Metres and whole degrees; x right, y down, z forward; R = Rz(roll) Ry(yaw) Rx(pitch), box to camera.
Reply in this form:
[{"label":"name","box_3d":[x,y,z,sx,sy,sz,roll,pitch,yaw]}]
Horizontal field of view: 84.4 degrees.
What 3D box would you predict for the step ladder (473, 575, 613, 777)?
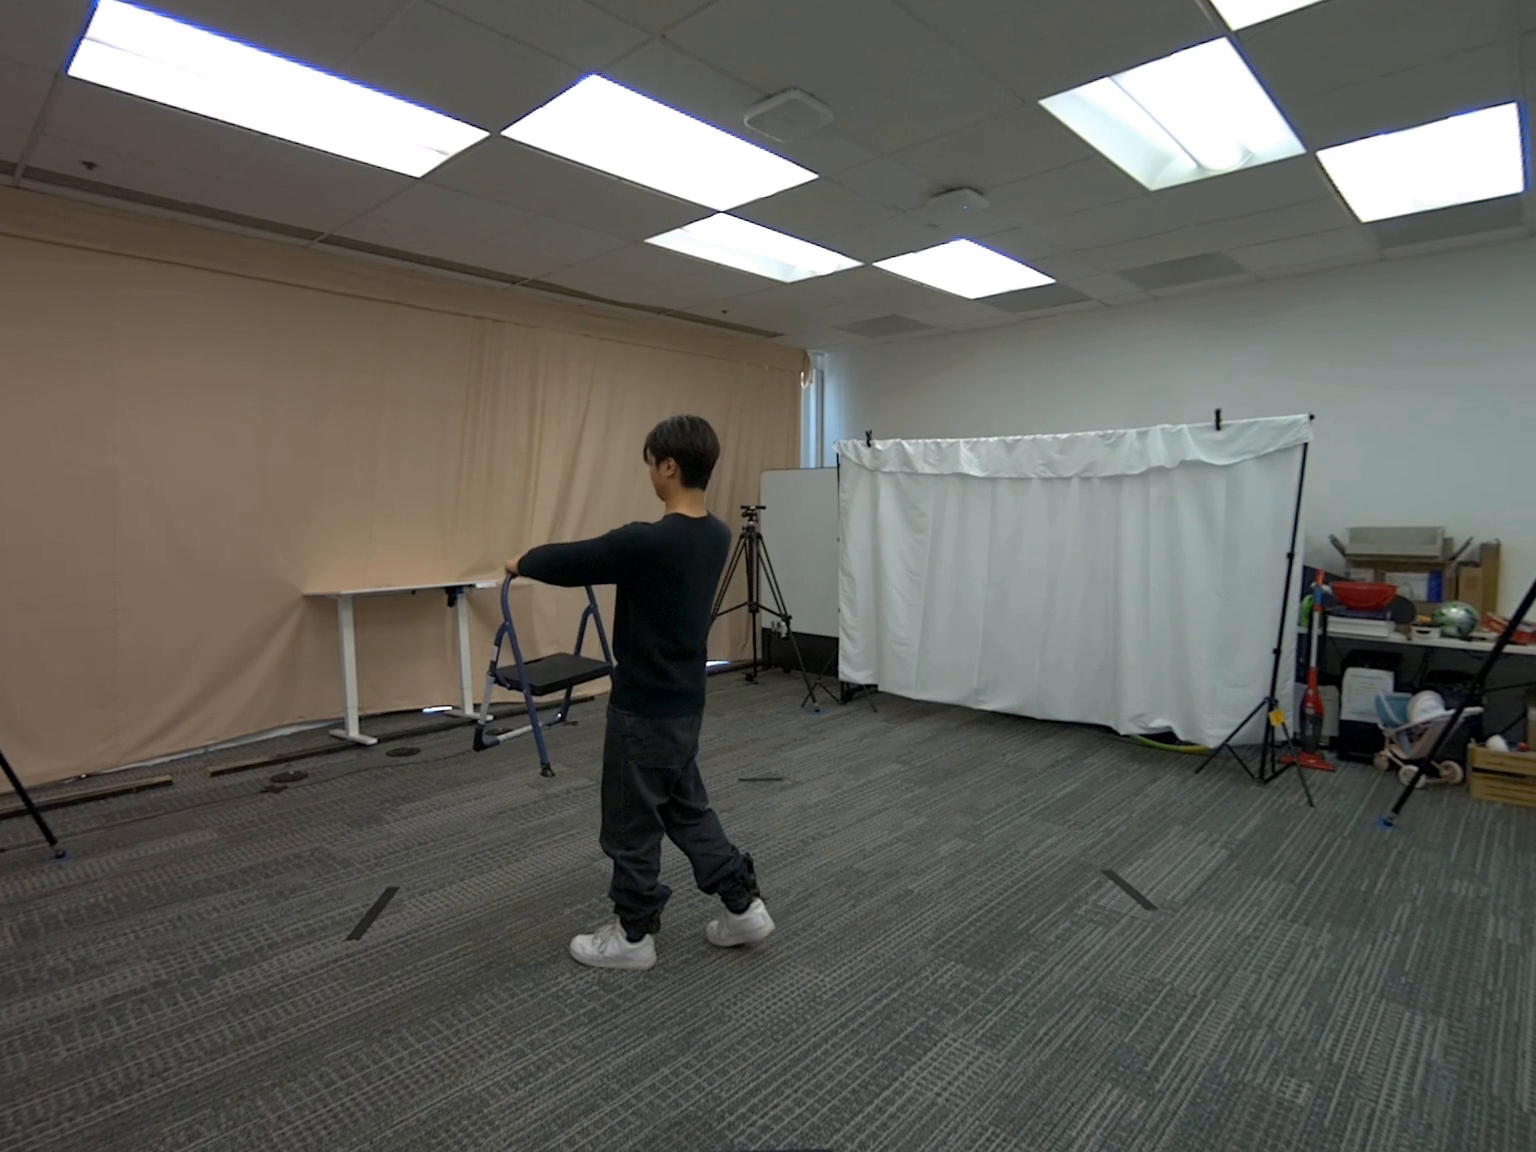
[{"label":"step ladder","box_3d":[-0.683,0.261,2.745,0.360,0.604,0.419,6,7,29]}]
